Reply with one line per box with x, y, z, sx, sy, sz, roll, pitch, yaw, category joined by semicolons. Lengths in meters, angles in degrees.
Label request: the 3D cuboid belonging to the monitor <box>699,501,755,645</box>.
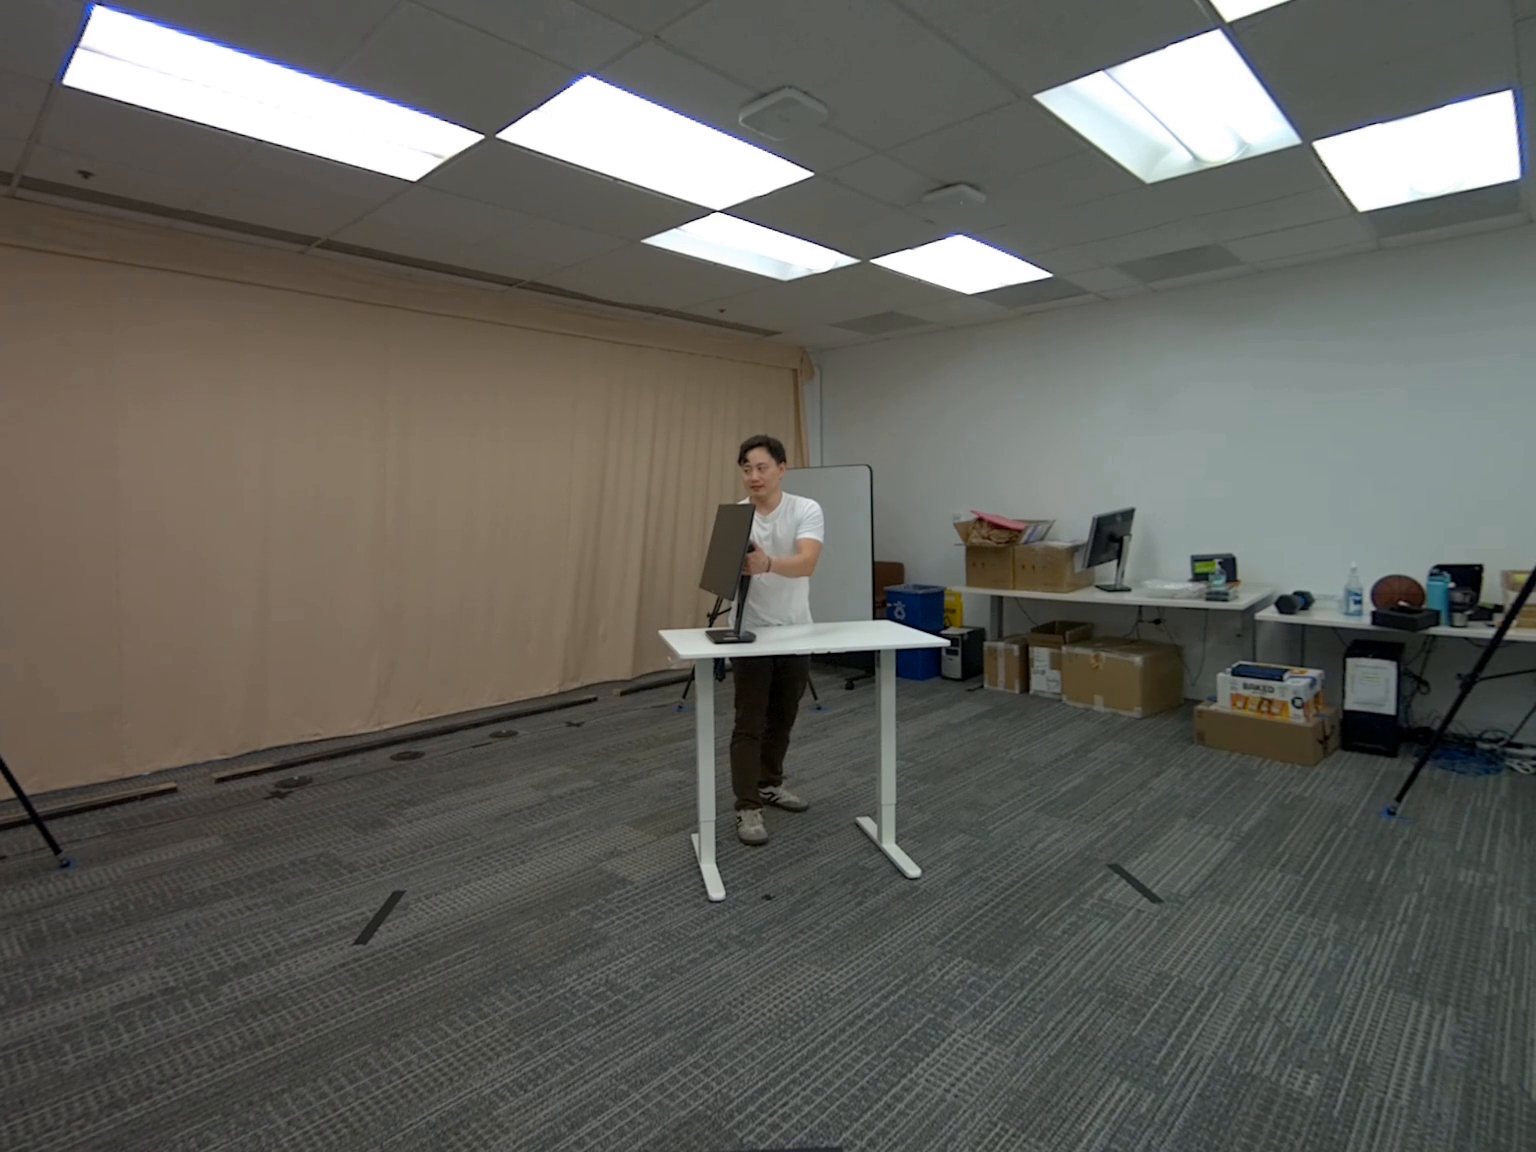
-0.133;-0.015;3.218;0.184;0.522;0.549;2;3;-17;monitor
